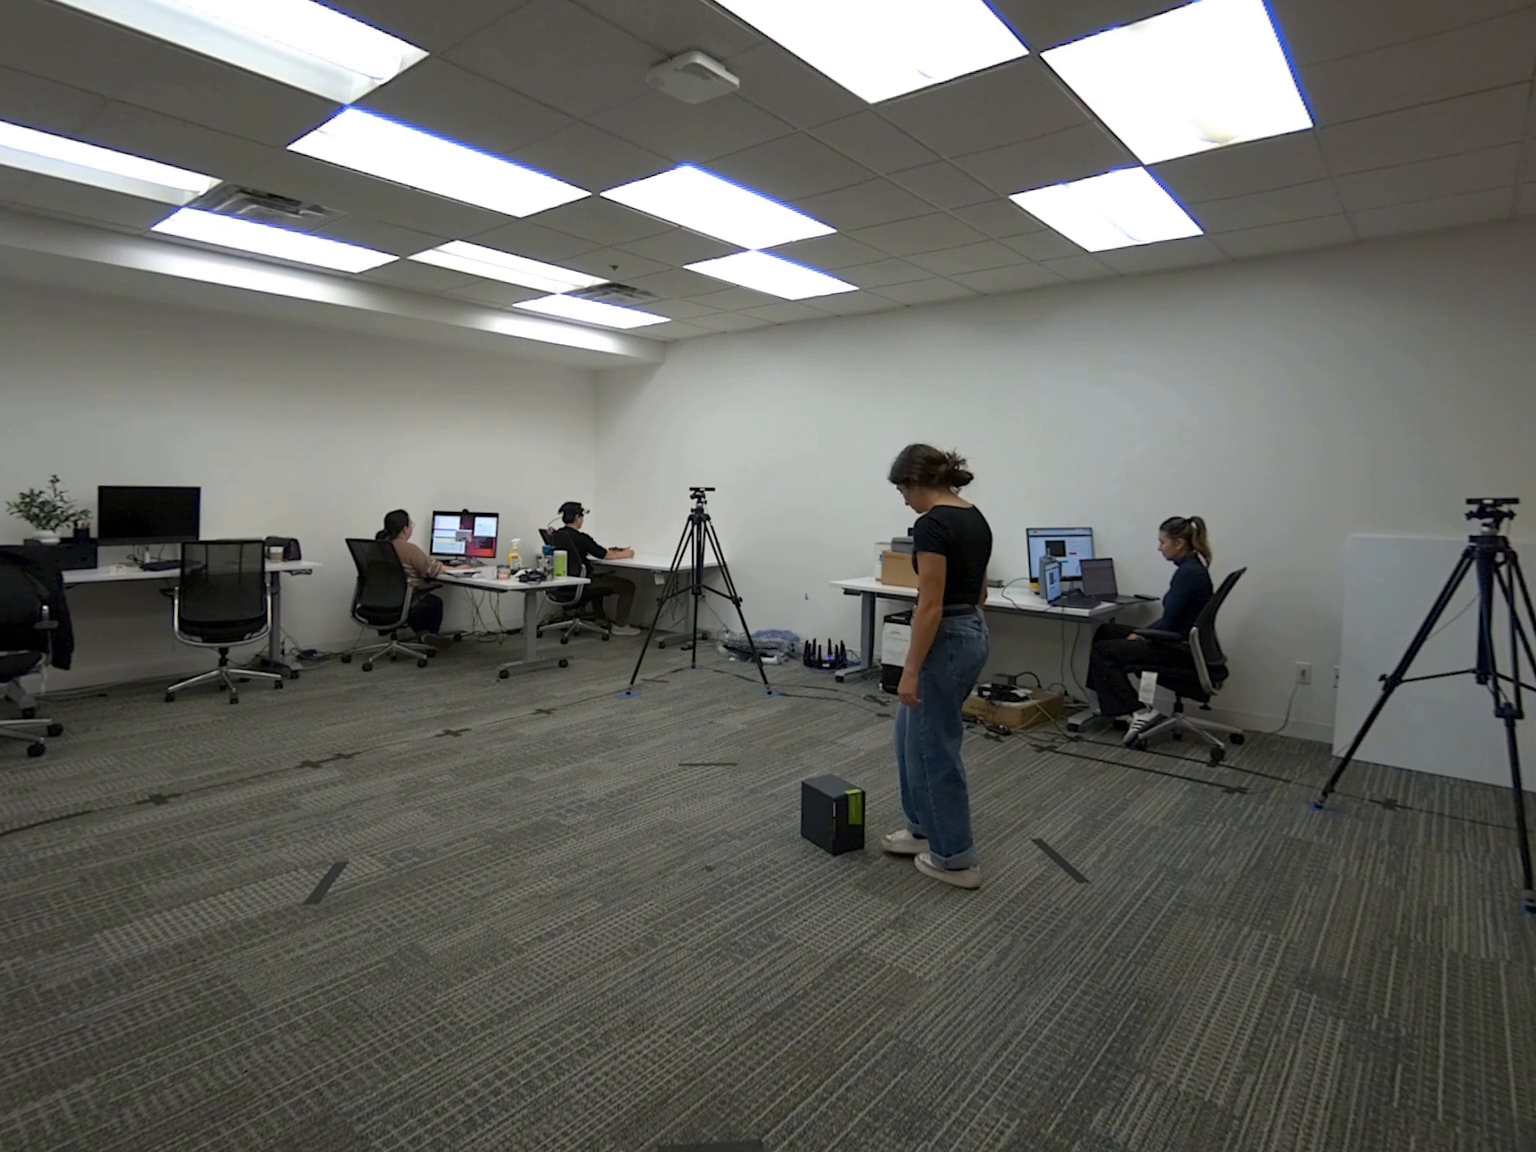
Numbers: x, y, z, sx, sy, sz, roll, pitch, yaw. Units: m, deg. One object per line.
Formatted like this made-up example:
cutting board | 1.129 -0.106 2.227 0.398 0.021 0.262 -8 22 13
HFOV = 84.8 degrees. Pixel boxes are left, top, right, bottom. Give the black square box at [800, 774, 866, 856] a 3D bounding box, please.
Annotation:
black square box | 0.247 0.927 3.360 0.151 0.227 0.224 -2 6 -33
